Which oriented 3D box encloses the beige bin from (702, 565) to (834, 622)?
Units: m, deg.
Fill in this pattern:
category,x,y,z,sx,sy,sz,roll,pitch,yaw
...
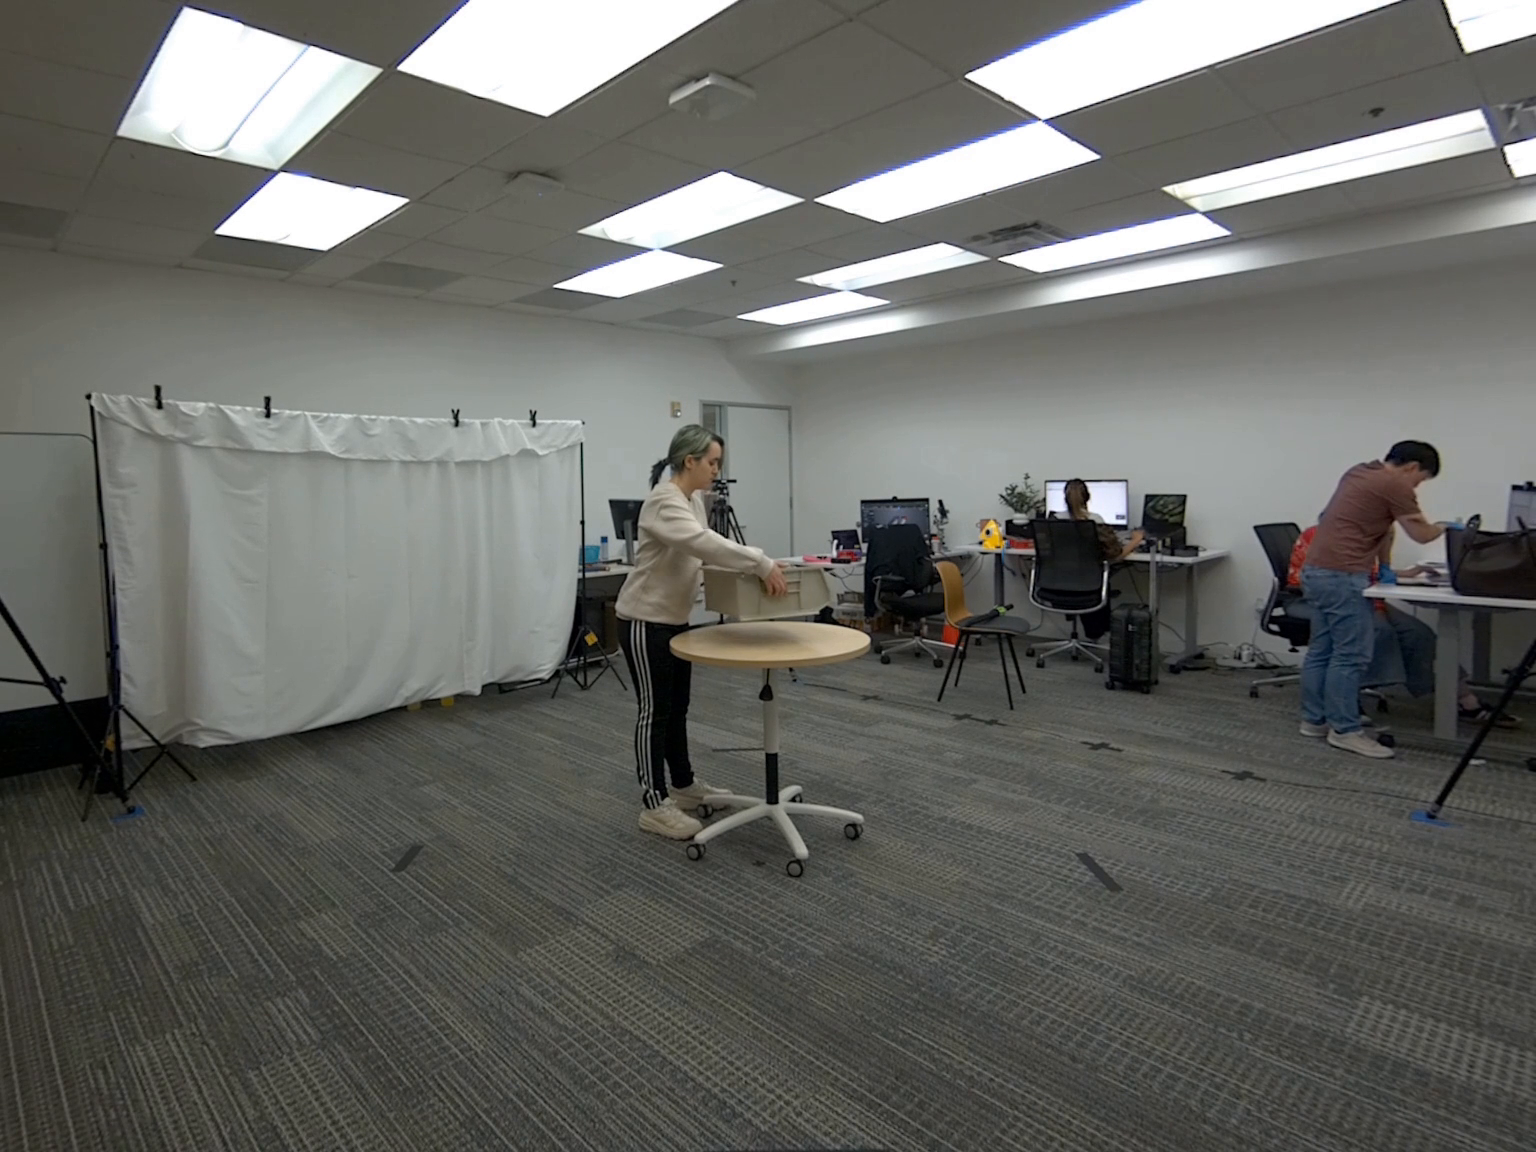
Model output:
category,x,y,z,sx,sy,sz,roll,pitch,yaw
beige bin,-0.014,0.056,3.307,0.371,0.188,0.430,-4,5,-19
